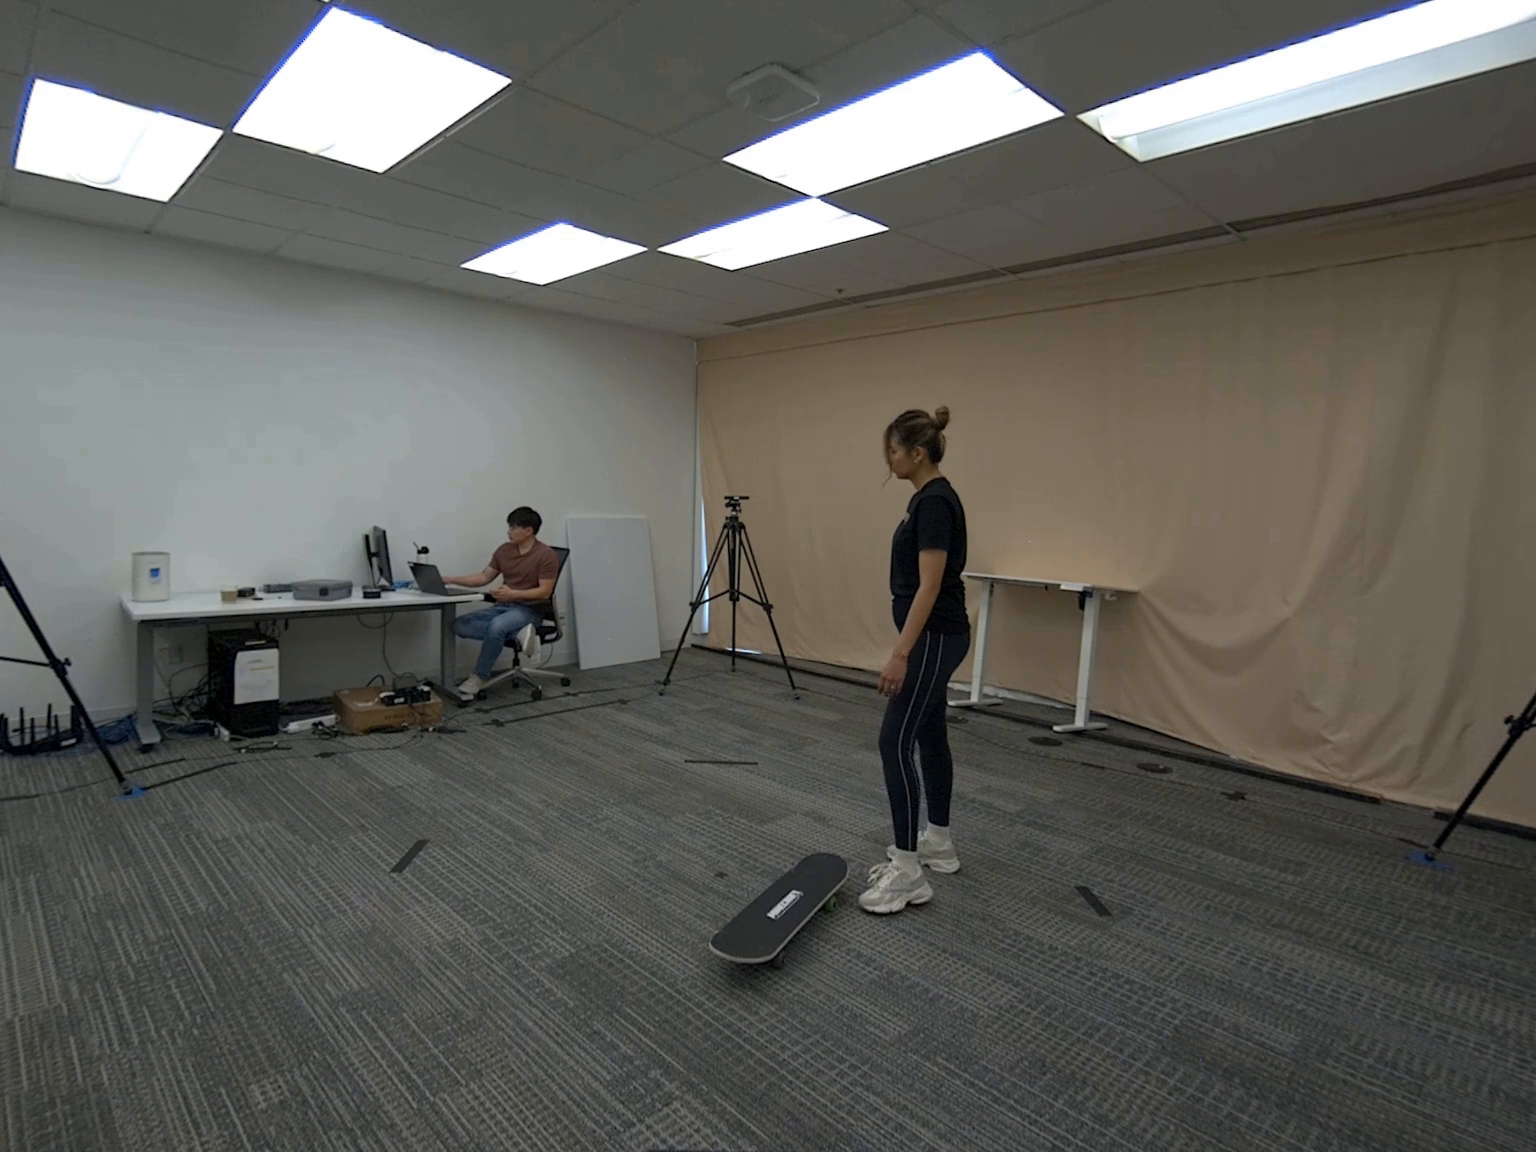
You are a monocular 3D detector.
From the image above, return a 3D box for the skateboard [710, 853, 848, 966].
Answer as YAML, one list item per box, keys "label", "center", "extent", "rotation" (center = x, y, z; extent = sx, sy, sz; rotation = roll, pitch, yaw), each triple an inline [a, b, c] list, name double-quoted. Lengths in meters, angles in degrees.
- label: "skateboard"
  center: [0.050, 1.087, 2.705]
  extent: [0.197, 0.110, 0.772]
  rotation: [4, 6, 26]
